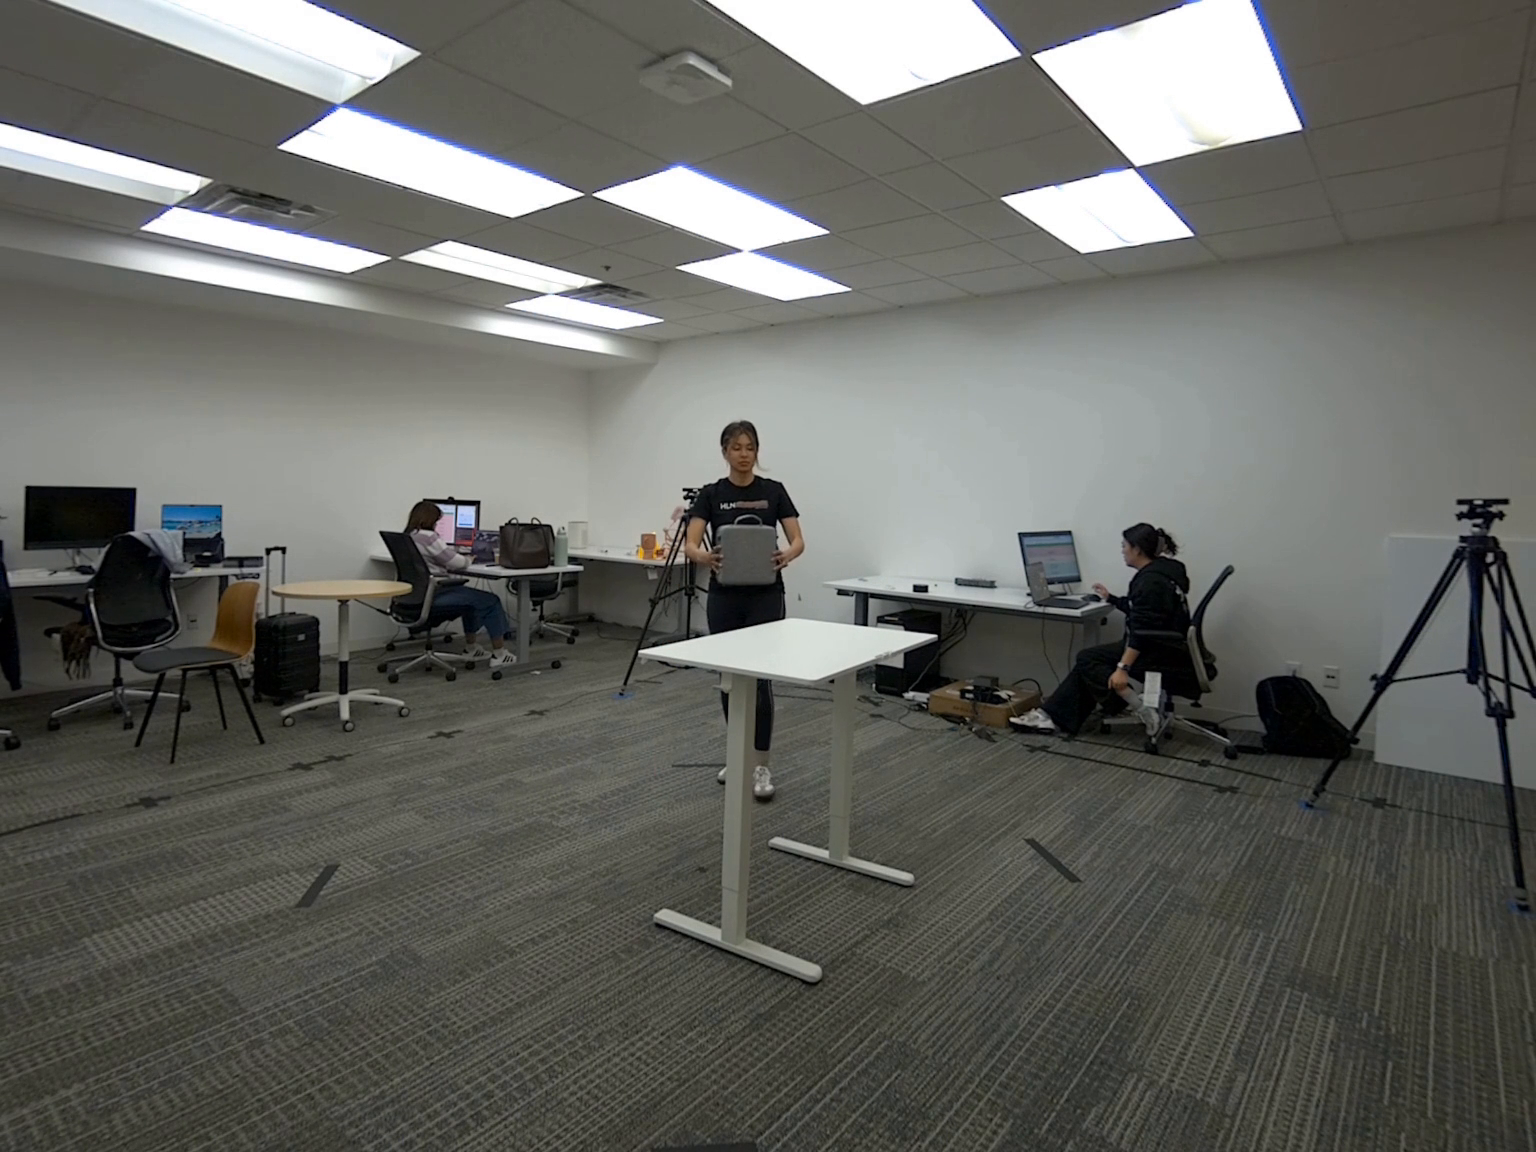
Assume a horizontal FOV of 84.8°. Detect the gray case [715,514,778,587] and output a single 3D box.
[{"bbox_3d":[-0.093,-0.099,3.648,0.253,0.259,0.106,-1,5,-14],"label":"gray case"}]
